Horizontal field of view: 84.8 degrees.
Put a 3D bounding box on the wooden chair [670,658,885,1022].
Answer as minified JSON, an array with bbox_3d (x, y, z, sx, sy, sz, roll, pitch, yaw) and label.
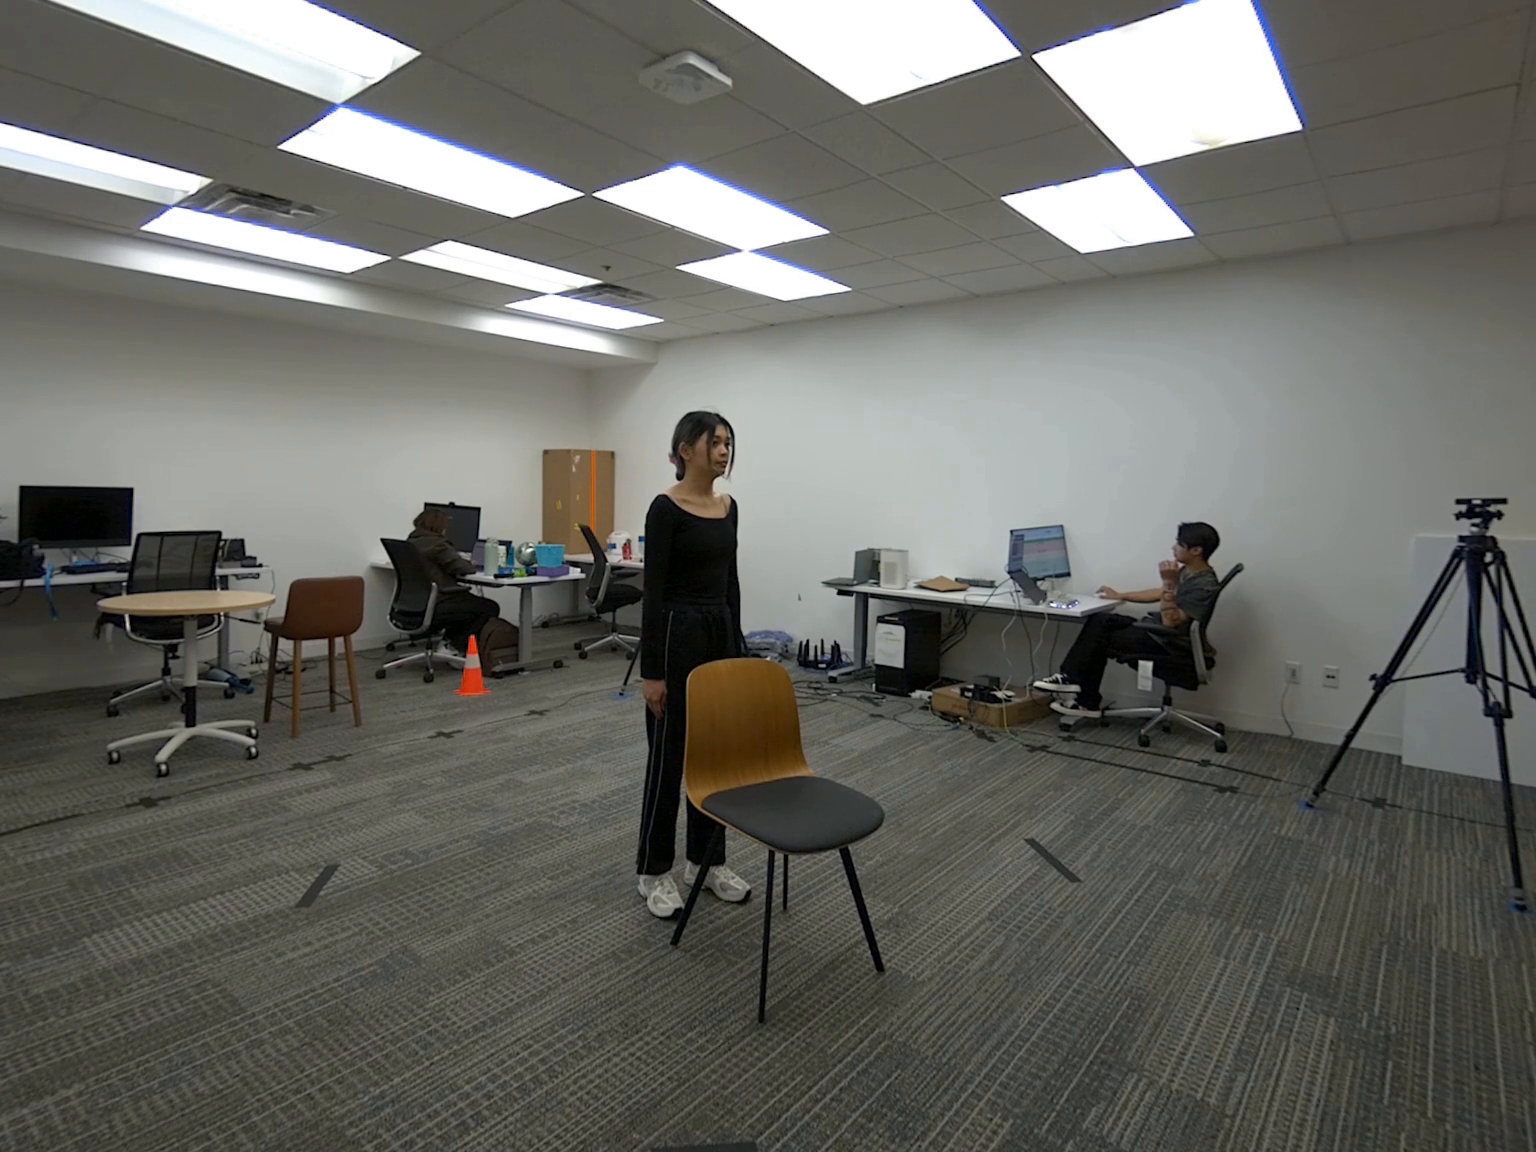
[{"bbox_3d":[0.037,0.711,2.488,0.464,0.878,0.538,-1,0,-36],"label":"wooden chair"}]
